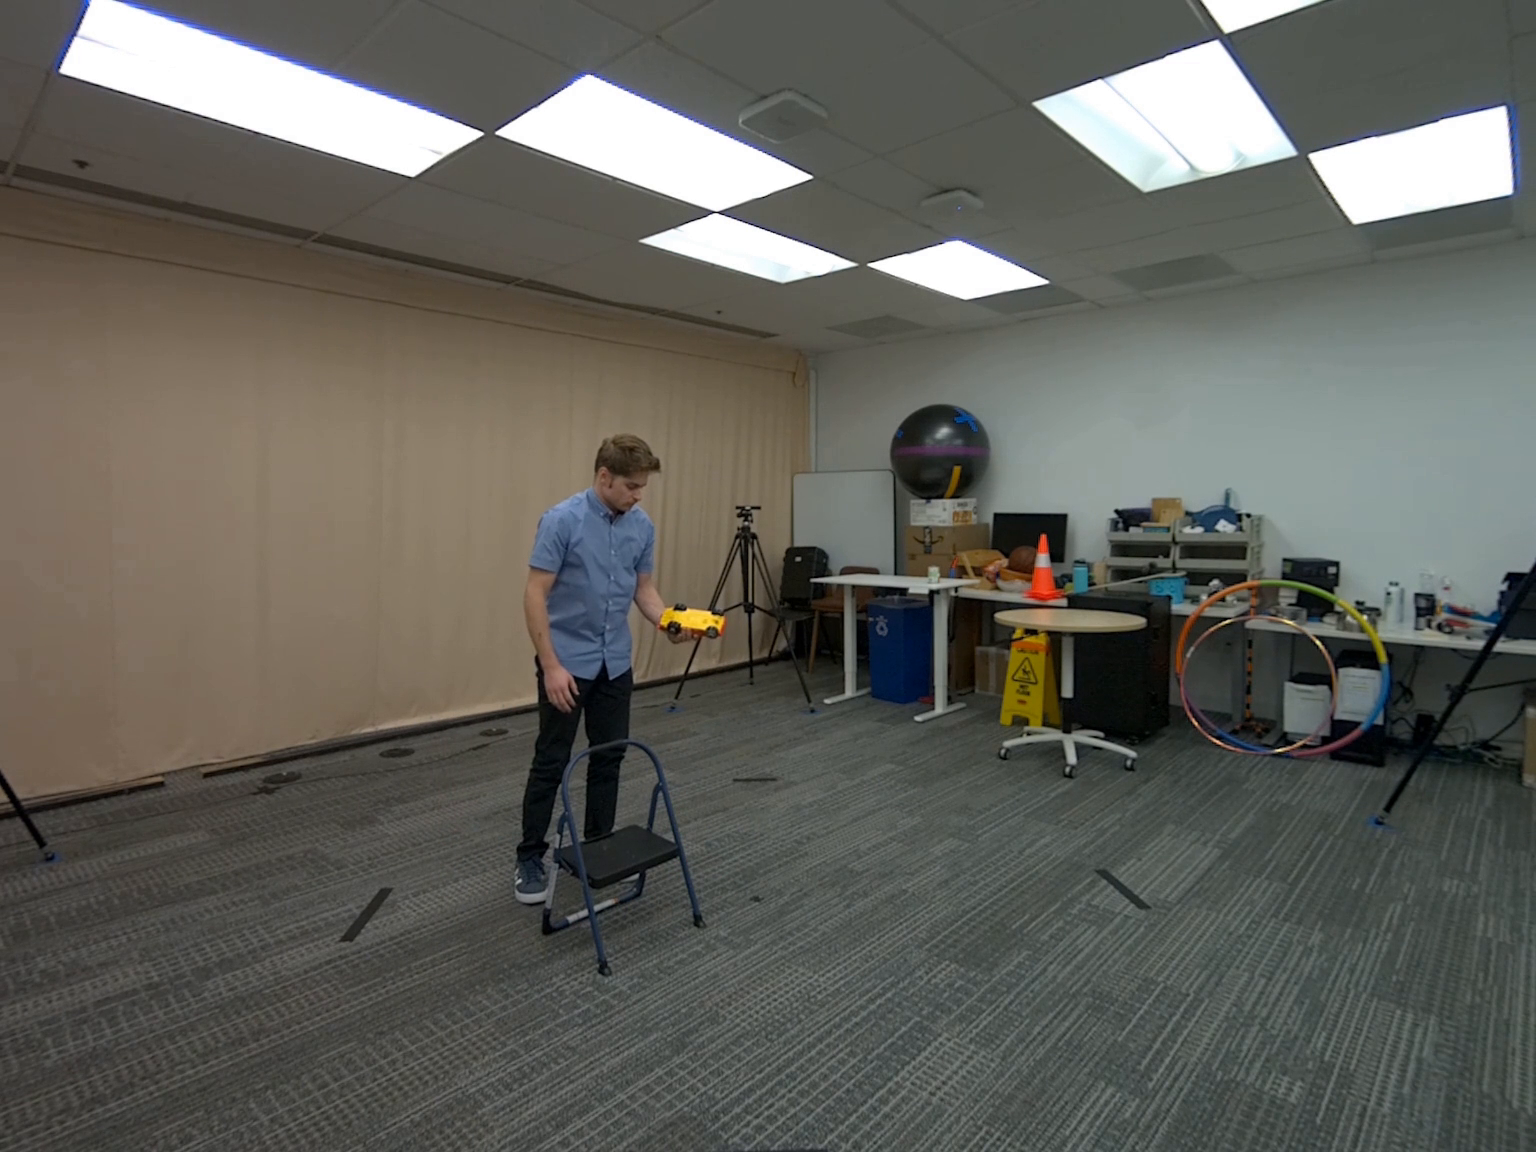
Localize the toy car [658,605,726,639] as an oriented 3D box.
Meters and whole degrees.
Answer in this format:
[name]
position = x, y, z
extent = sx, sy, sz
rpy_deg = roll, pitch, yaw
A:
[toy car]
position = -0.286, 0.177, 3.089
extent = 0.260, 0.081, 0.131
rpy_deg = -2, 44, 20
